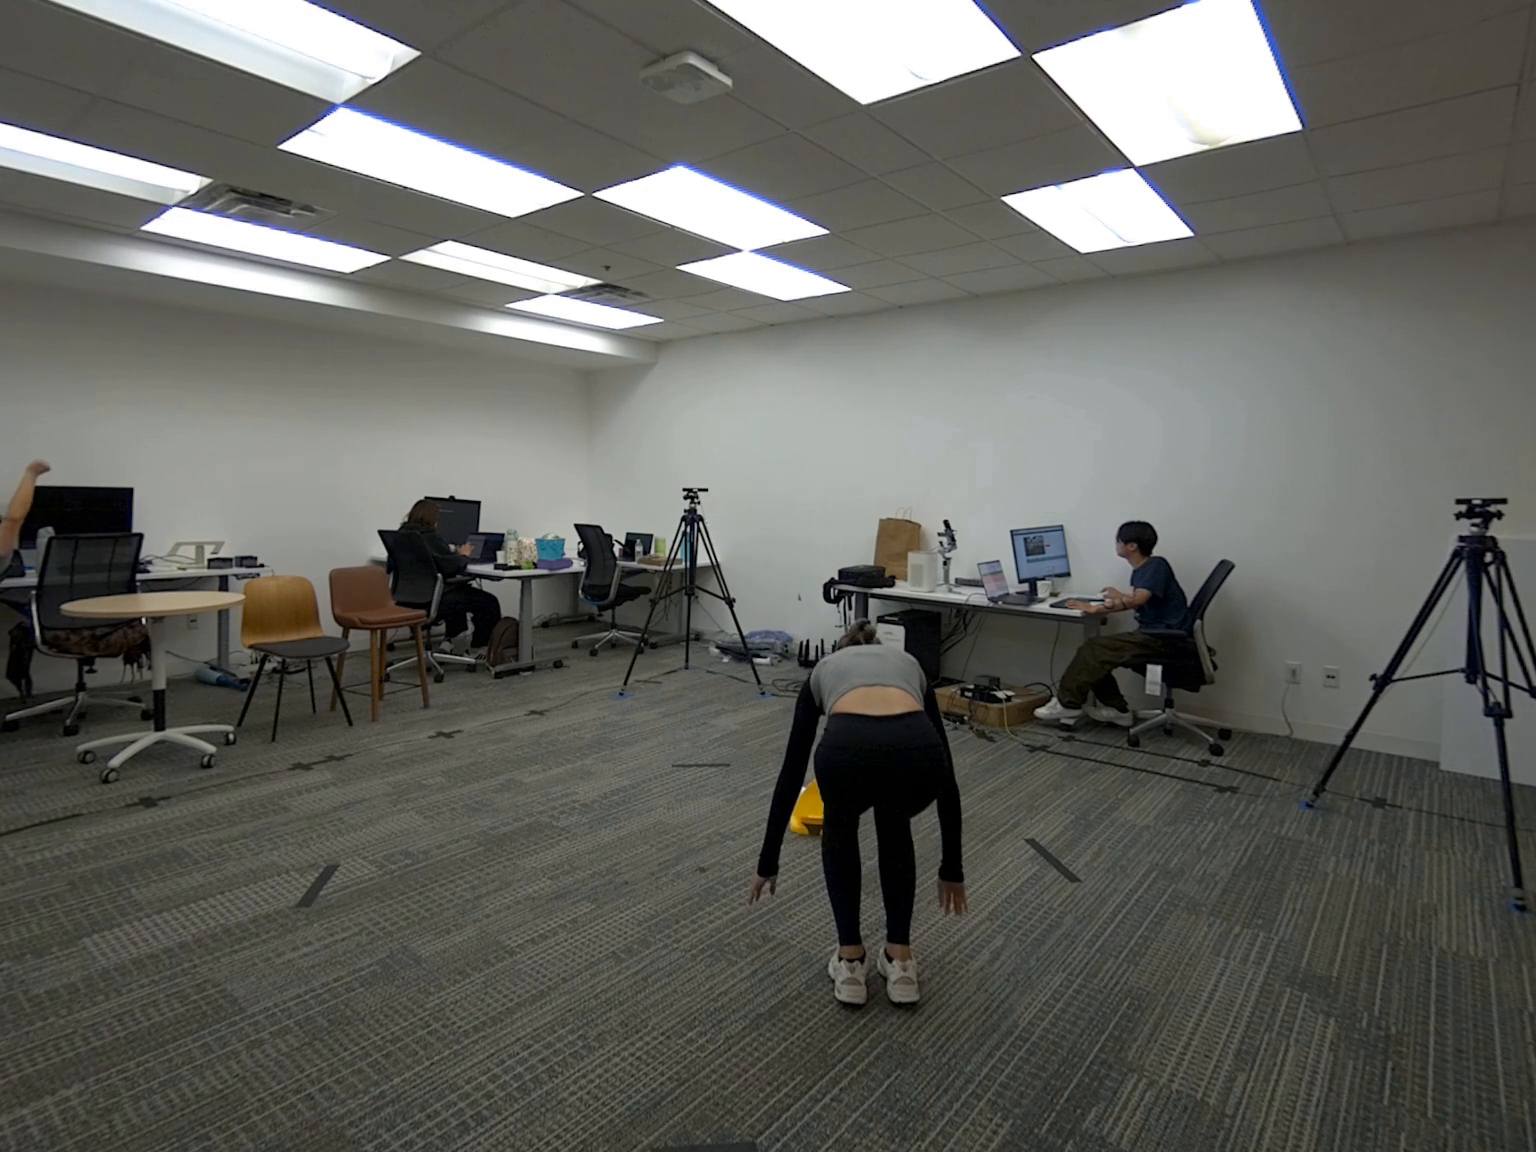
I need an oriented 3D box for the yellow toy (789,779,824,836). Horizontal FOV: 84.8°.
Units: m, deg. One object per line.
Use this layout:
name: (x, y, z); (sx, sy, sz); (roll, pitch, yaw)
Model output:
yellow toy: (0.182, 0.926, 3.509); (0.206, 0.230, 0.192); (2, 3, 4)
